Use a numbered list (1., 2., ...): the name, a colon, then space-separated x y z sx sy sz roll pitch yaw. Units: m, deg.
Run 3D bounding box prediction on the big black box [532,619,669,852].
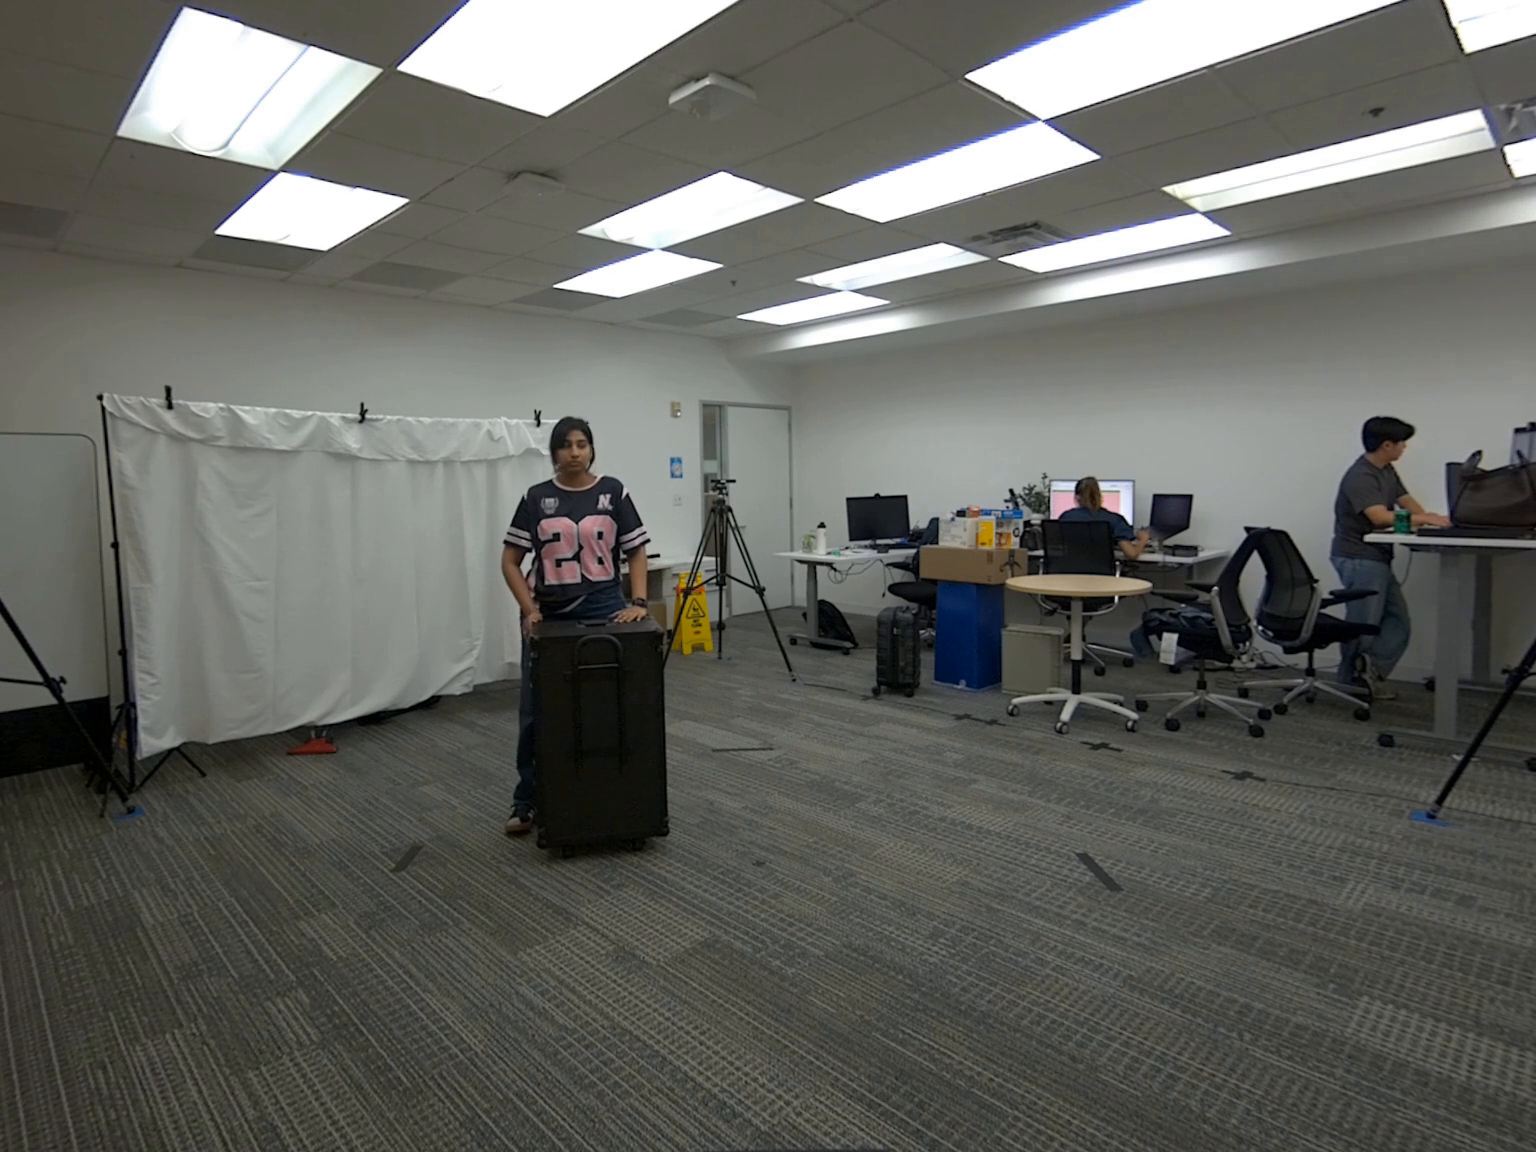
1. big black box: -0.650 0.614 3.297 0.517 0.865 0.391 -2 4 -13
